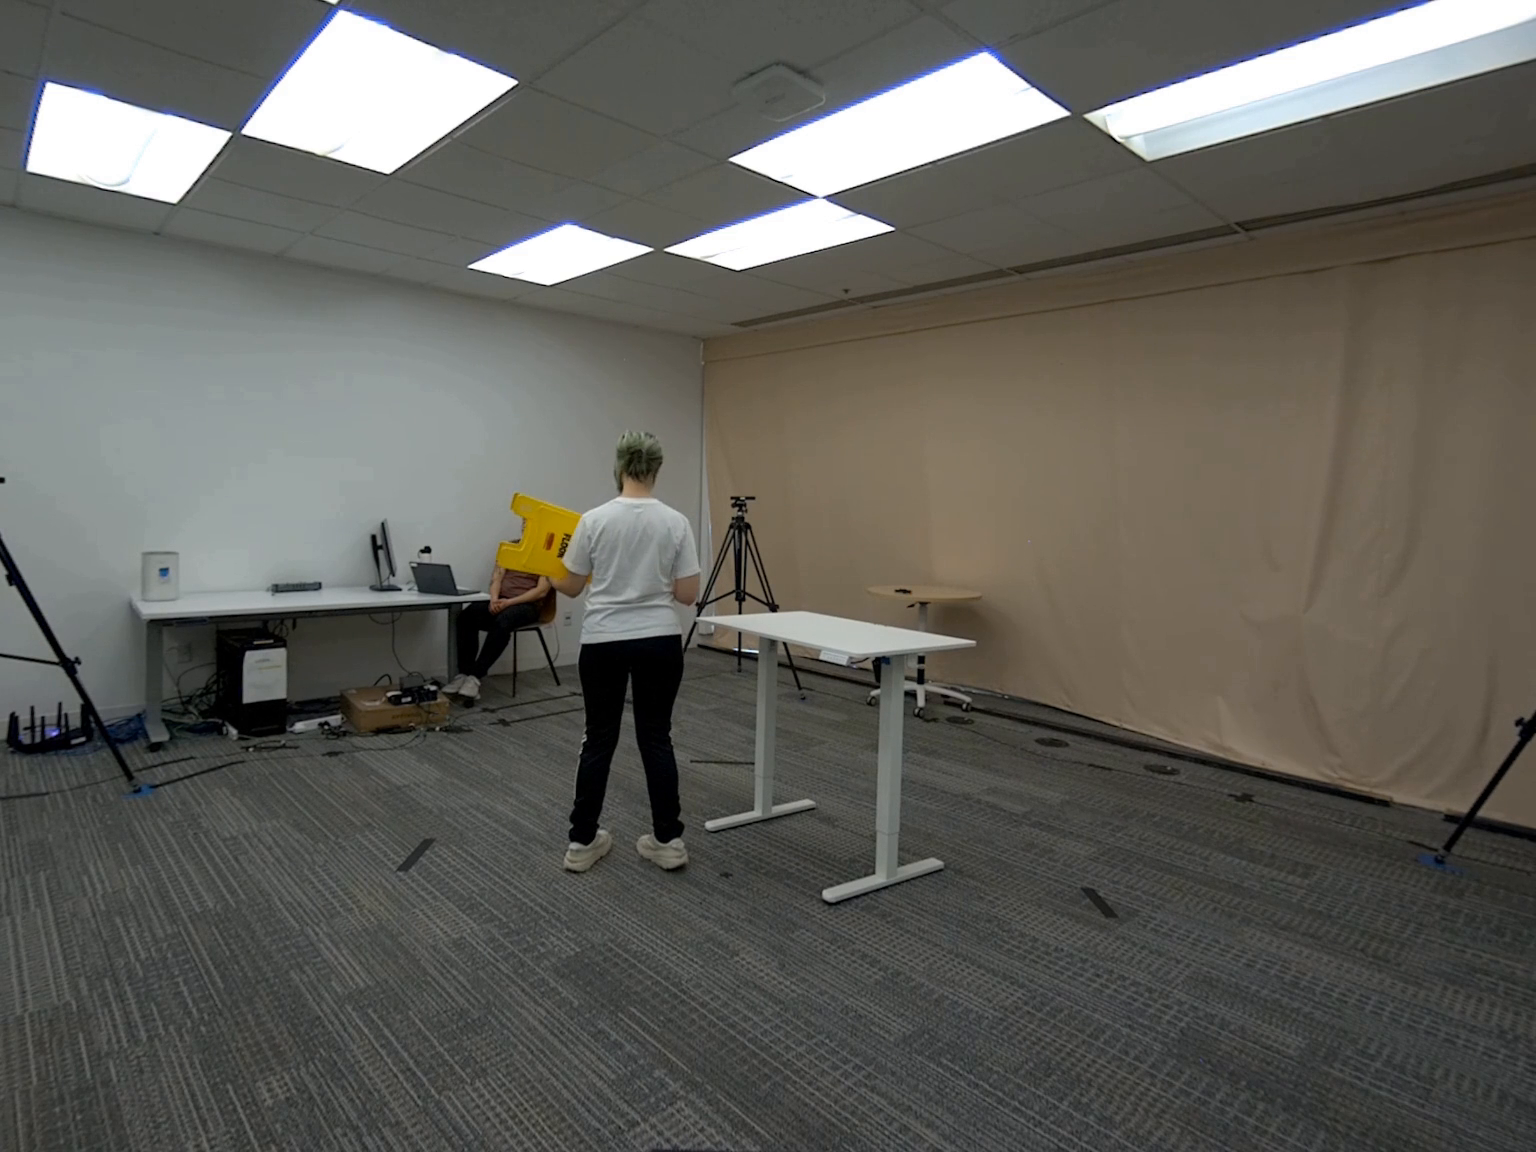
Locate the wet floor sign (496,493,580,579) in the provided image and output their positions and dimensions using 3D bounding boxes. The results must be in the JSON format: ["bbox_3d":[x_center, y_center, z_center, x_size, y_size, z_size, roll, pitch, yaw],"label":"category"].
[{"bbox_3d":[-0.713,-0.098,3.311,0.635,0.282,0.295,17,0,-19],"label":"wet floor sign"}]
